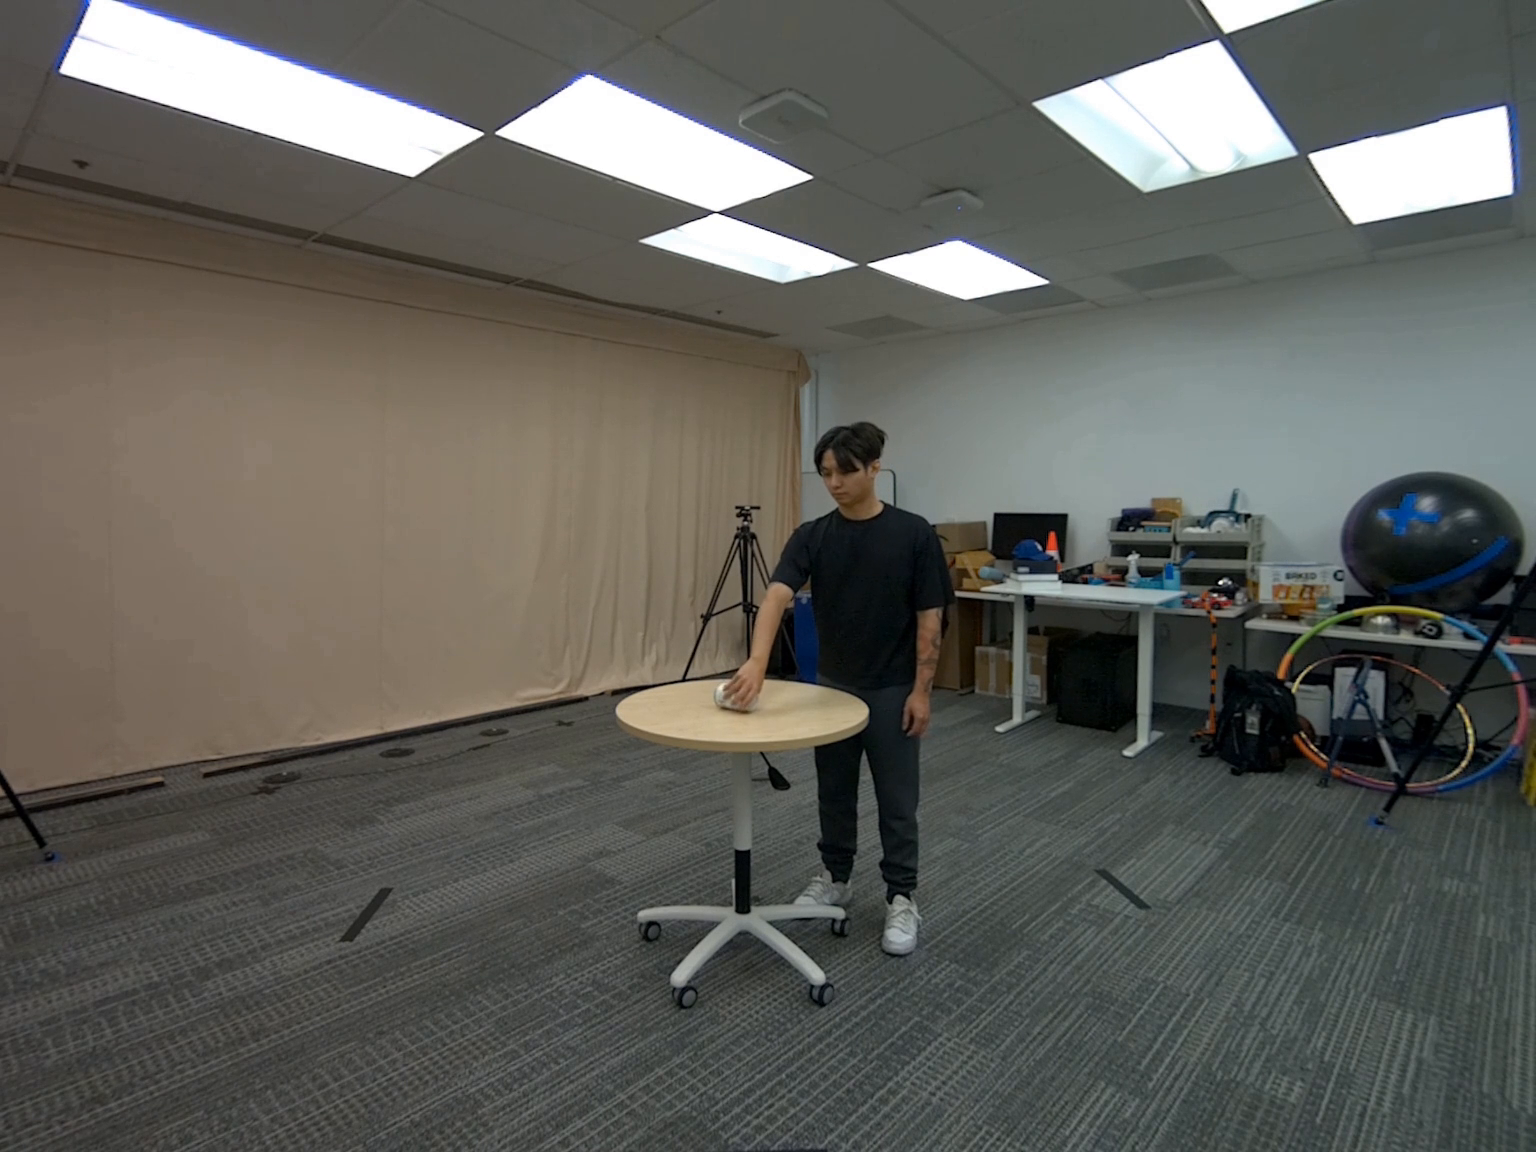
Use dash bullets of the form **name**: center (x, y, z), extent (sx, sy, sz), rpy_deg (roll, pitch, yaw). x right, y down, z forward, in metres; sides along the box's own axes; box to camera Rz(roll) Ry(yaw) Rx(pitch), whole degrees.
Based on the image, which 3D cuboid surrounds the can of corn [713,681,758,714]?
- **can of corn**: center (-0.090, 0.359, 2.524), extent (0.114, 0.074, 0.072), rpy_deg (0, 3, 30)
